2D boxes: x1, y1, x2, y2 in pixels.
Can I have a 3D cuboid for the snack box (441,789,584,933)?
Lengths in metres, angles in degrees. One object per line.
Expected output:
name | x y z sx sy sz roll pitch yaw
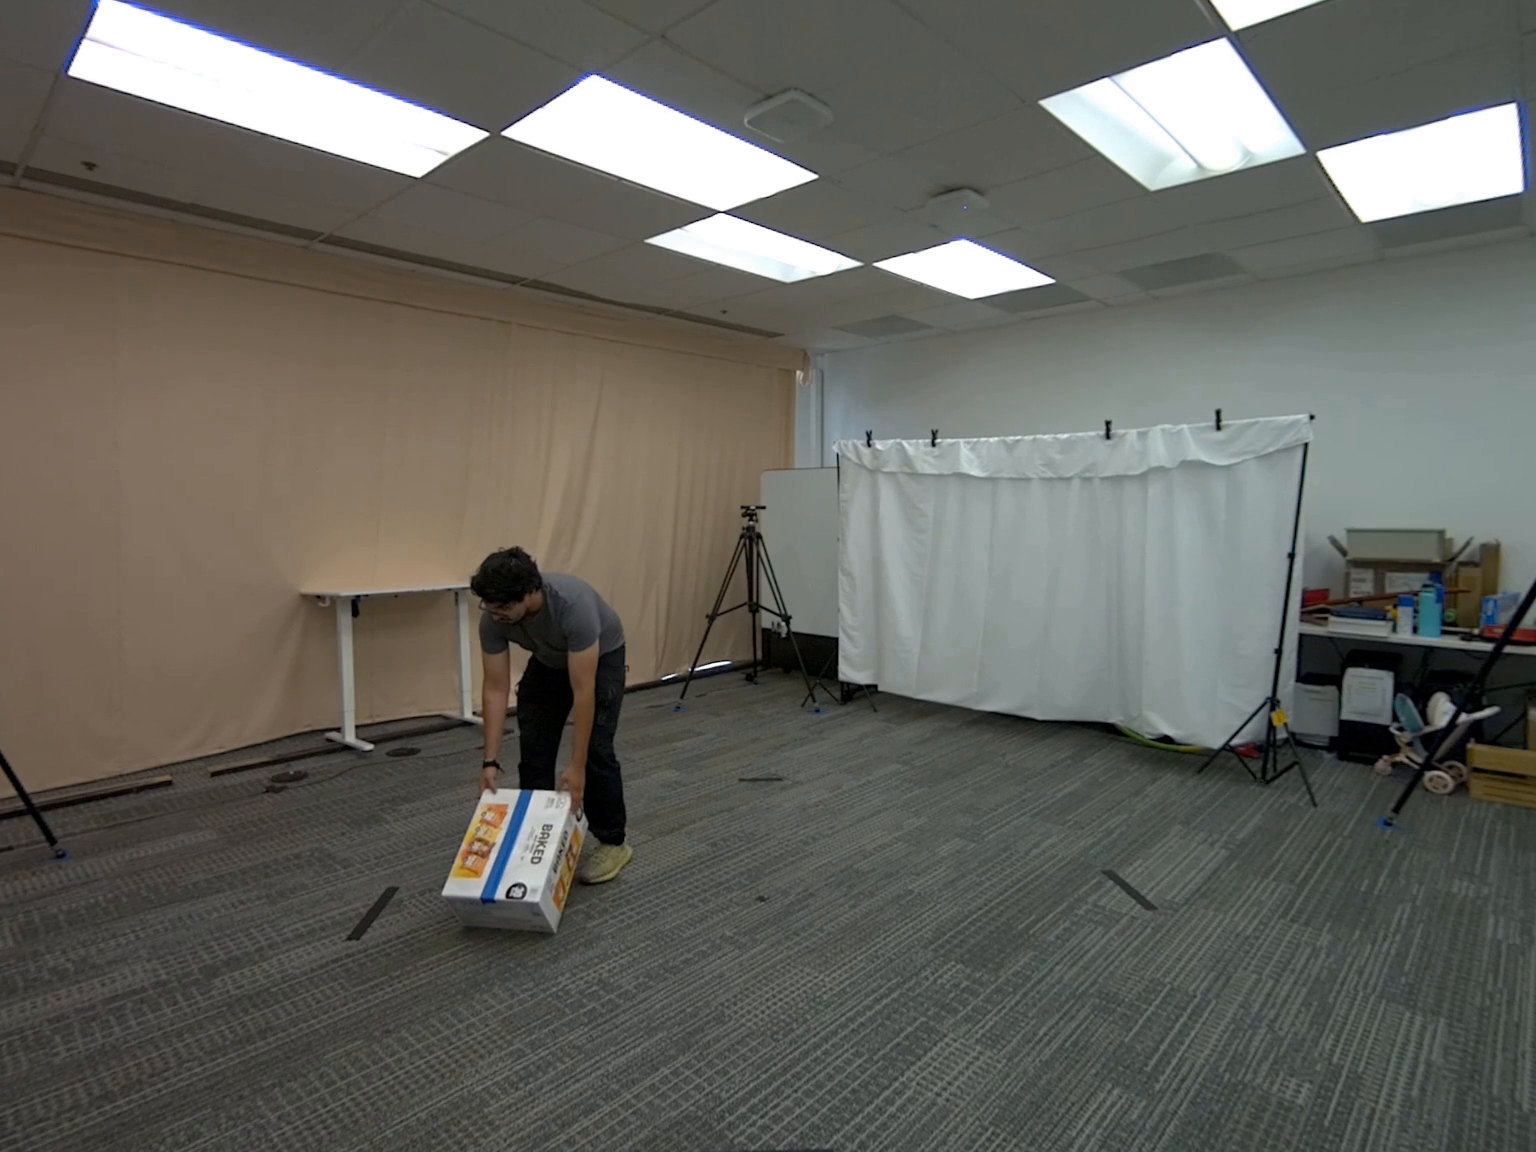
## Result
snack box | -0.842 0.955 2.863 0.345 0.201 0.410 -2 40 12
